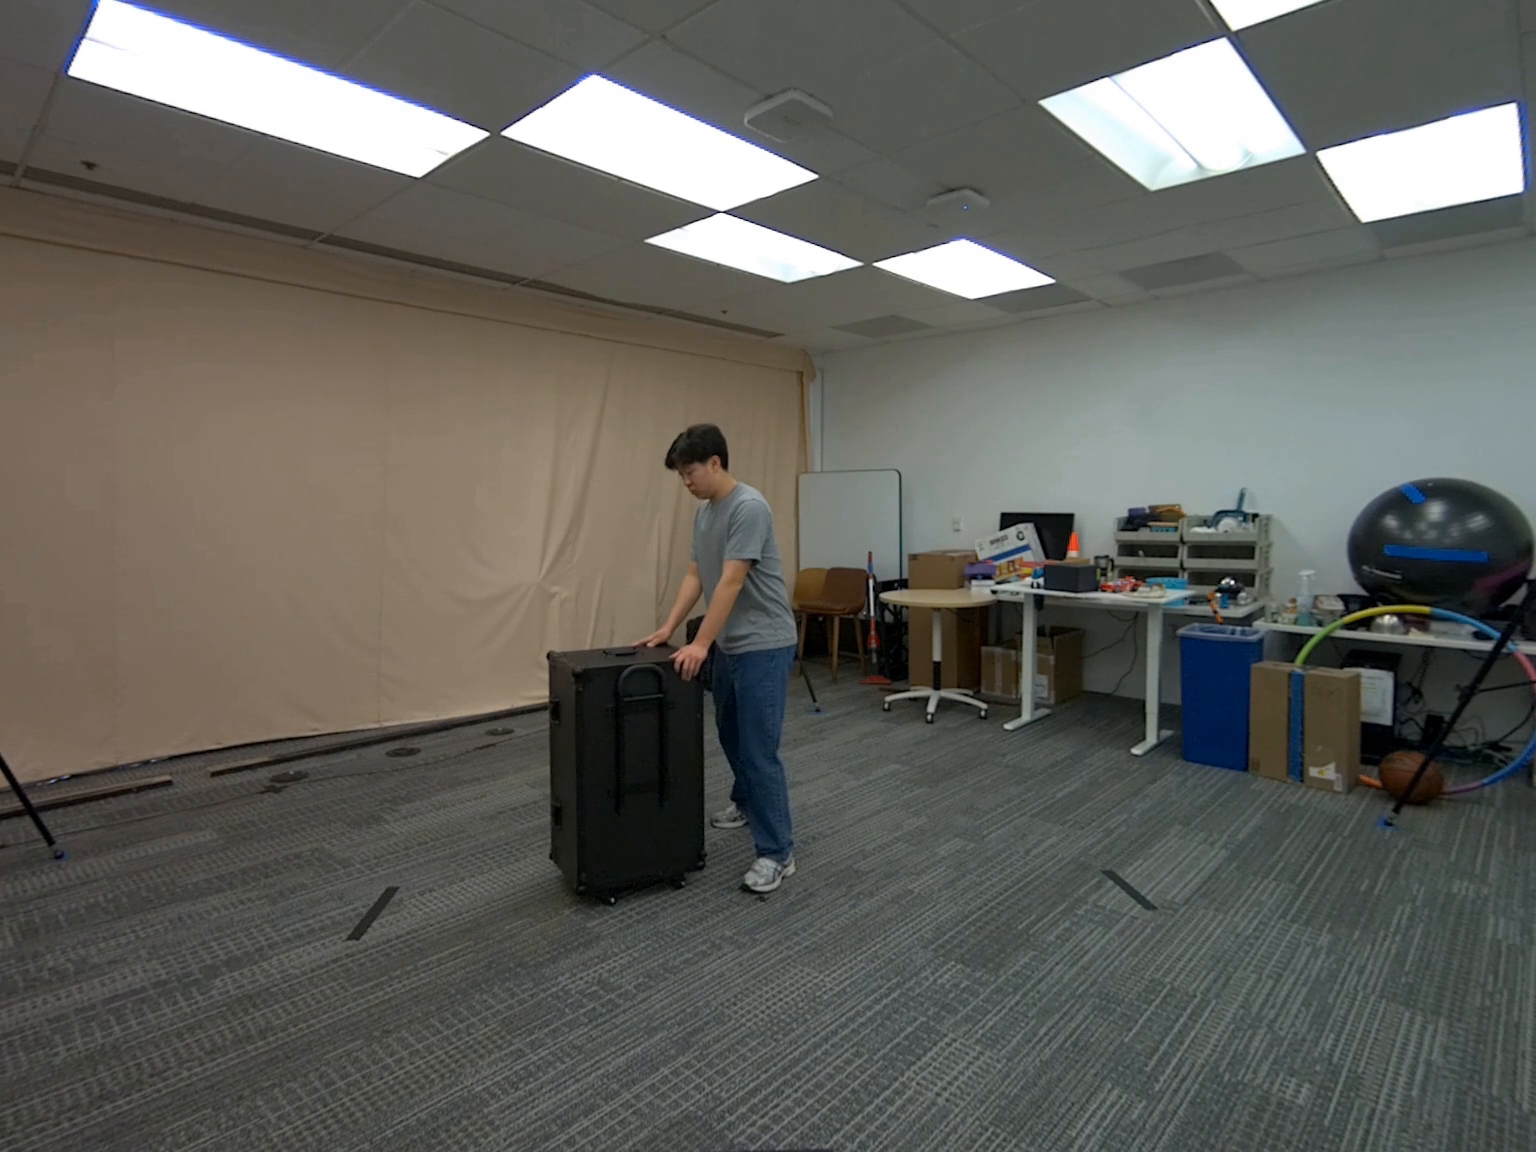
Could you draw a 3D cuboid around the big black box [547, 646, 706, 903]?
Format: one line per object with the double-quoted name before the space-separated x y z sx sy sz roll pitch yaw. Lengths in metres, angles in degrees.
"big black box" -0.511 0.718 3.092 0.508 0.859 0.407 -2 5 -27
